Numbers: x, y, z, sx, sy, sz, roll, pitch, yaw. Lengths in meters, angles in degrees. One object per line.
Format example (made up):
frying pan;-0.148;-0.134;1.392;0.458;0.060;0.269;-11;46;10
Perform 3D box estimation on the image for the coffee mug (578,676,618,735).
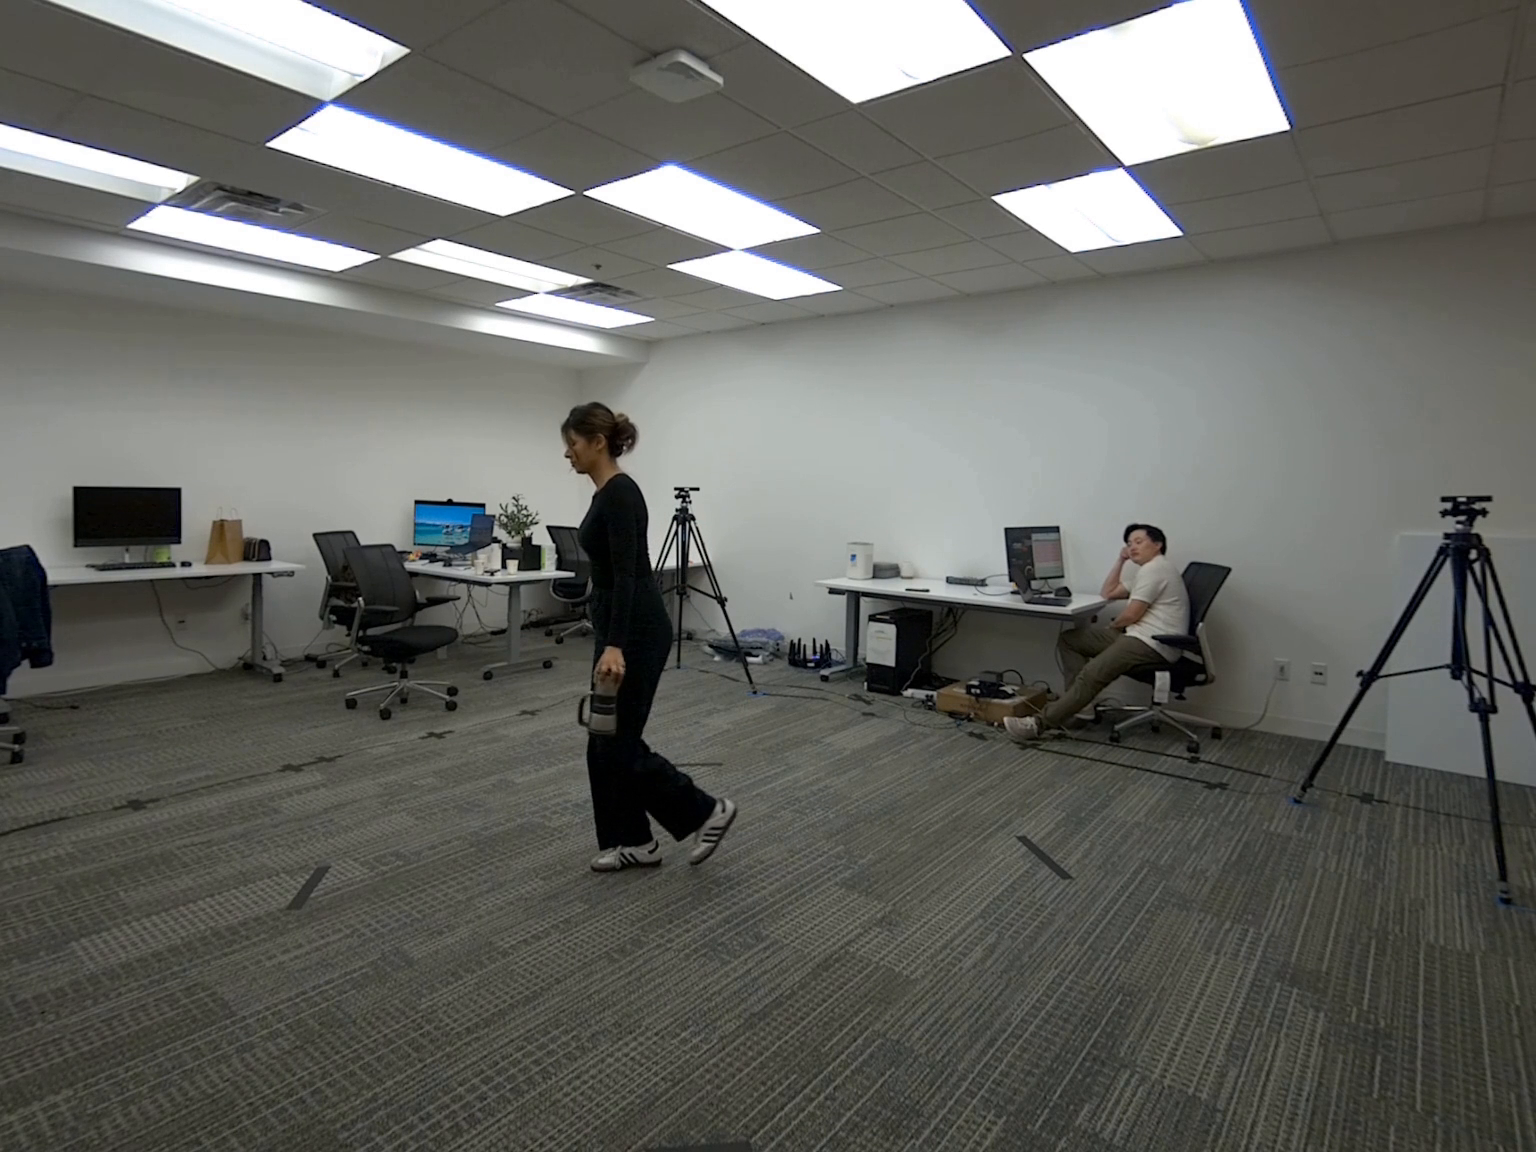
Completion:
coffee mug;-0.565;0.380;2.678;0.120;0.202;0.089;2;5;-14
